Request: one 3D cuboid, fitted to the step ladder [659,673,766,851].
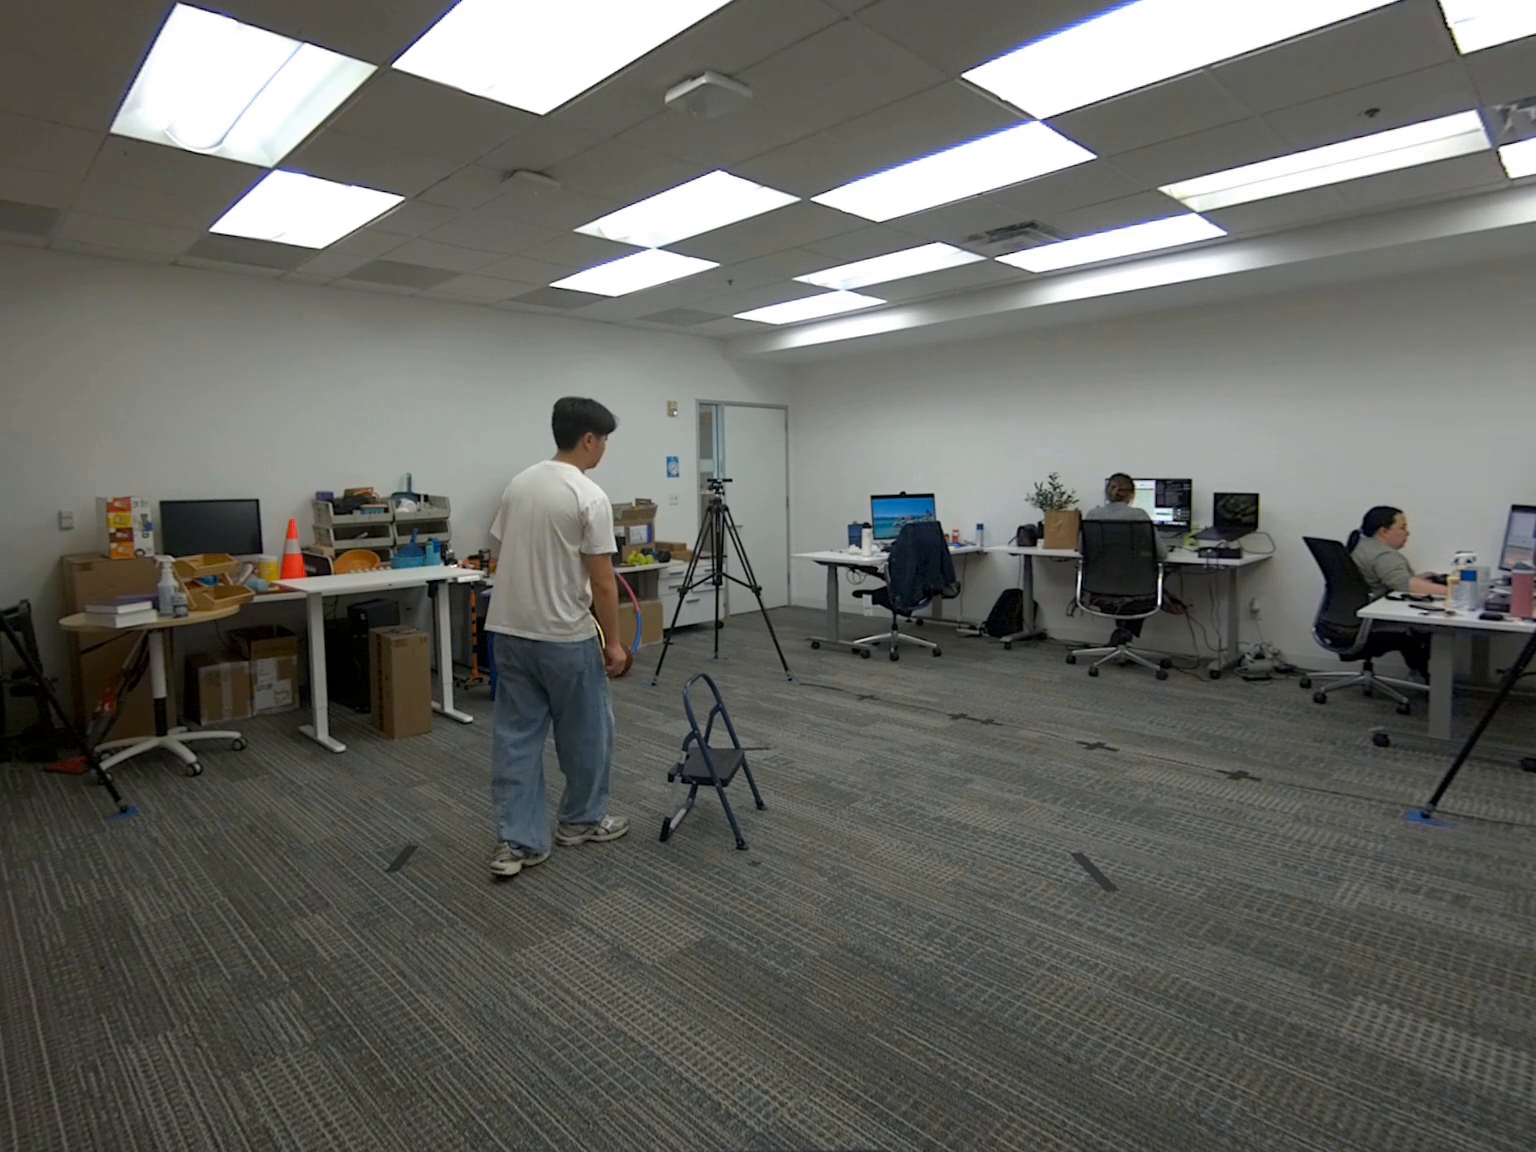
[{"bbox_3d":[-0.220,0.708,3.449,0.353,0.604,0.427,0,4,11],"label":"step ladder"}]
